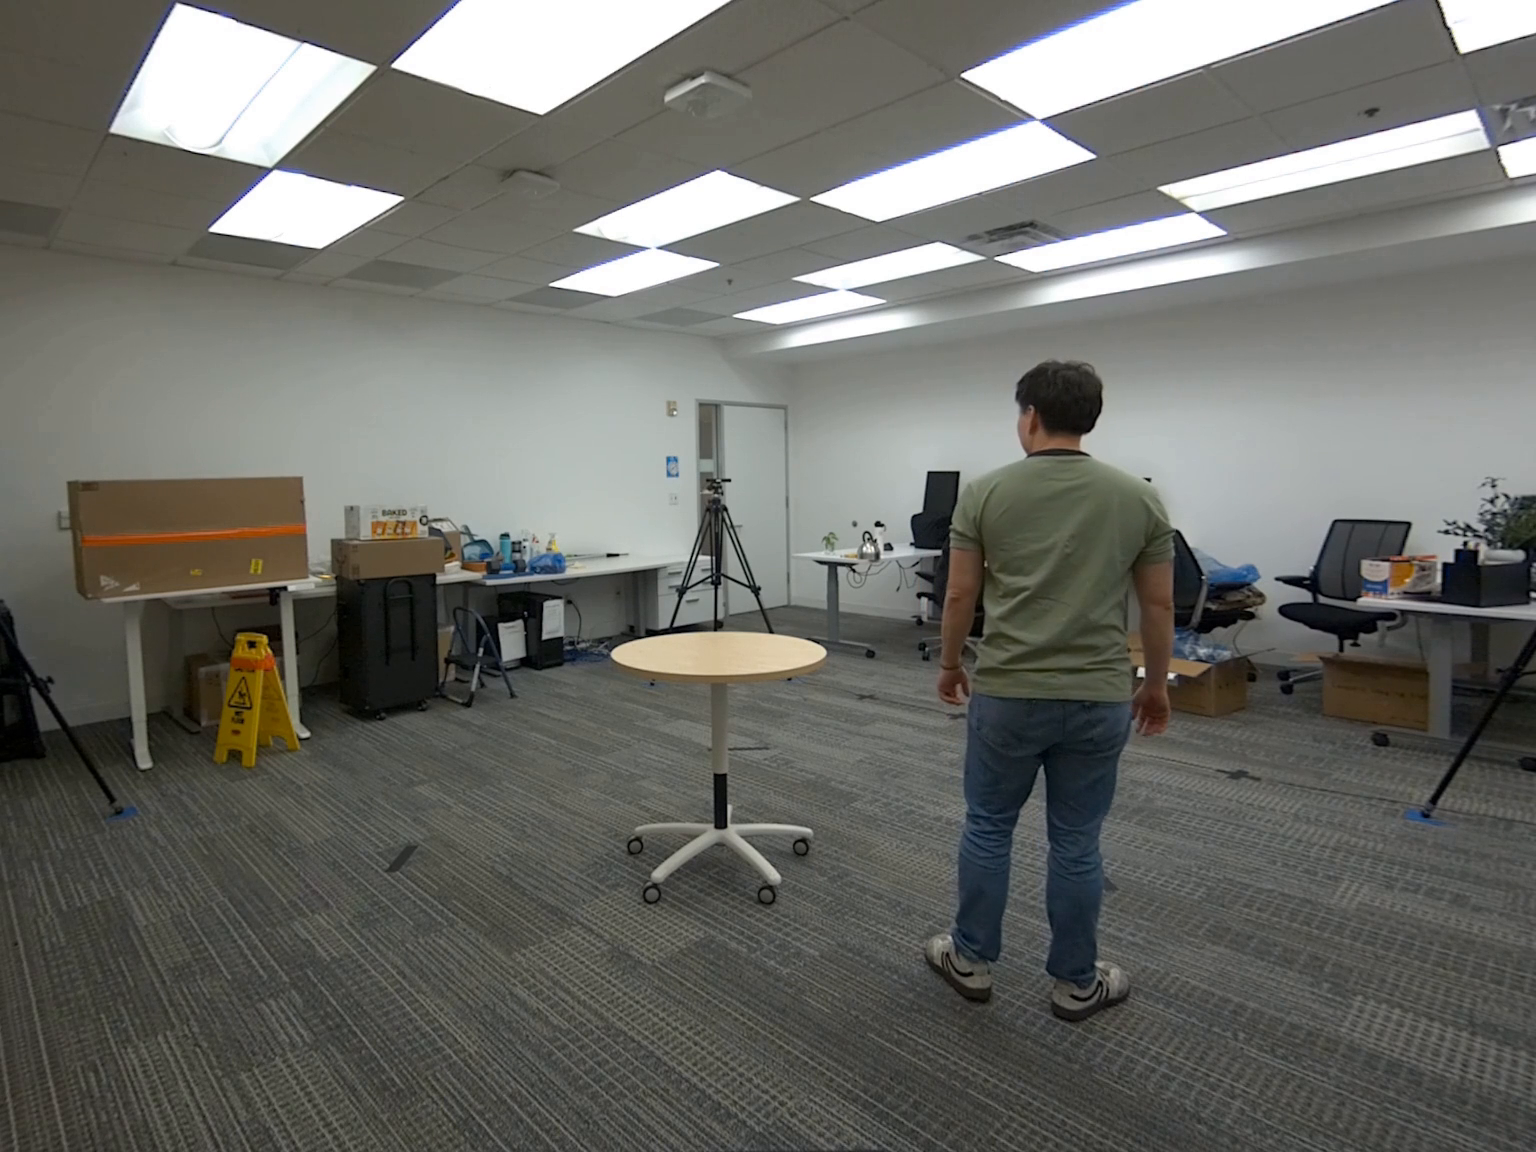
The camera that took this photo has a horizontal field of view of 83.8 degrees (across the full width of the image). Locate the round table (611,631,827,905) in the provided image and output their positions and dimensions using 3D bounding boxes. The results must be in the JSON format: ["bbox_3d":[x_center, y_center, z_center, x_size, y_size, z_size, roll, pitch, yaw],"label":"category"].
[{"bbox_3d":[-0.171,0.659,3.076,0.763,0.791,0.768,-1,5,-2],"label":"round table"}]
